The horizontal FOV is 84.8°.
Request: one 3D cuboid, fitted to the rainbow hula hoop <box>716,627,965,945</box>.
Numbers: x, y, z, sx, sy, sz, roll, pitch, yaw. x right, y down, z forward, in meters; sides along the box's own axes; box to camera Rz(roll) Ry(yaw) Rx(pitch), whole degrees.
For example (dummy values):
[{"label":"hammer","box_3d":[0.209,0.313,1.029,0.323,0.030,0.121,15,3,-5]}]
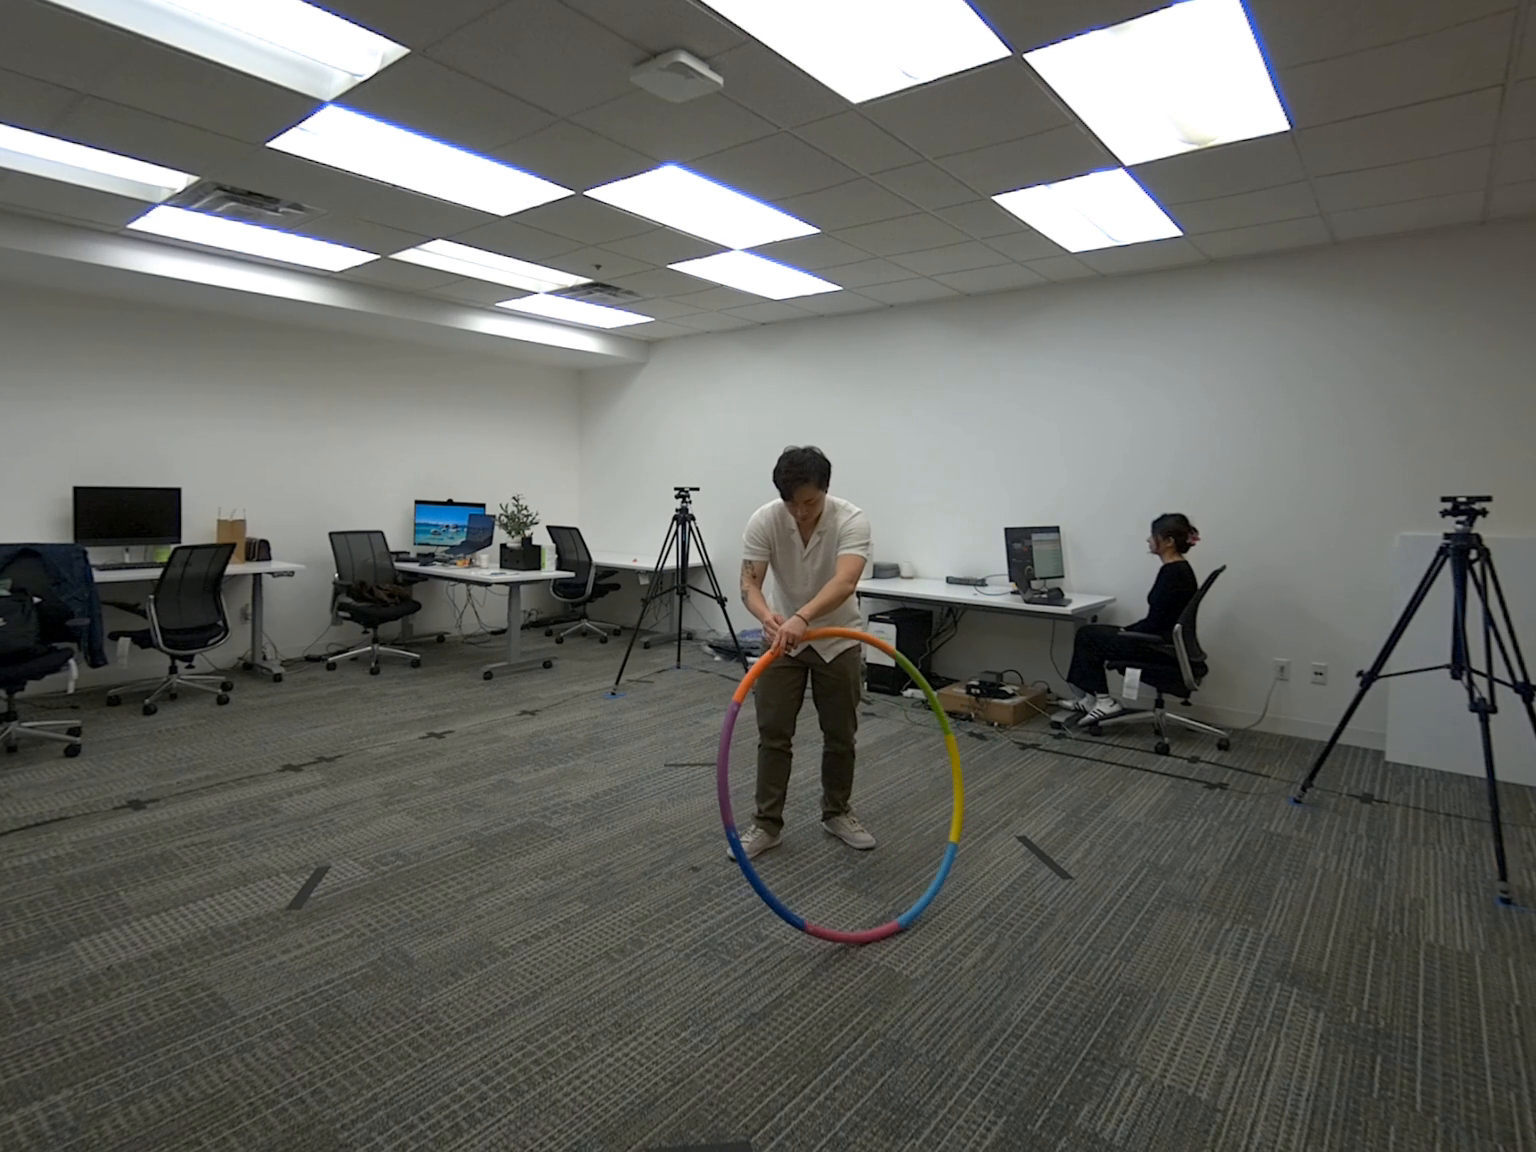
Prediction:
[{"label":"rainbow hula hoop","box_3d":[0.252,0.650,2.755,0.951,0.993,0.036,-2,-16,-33]}]
